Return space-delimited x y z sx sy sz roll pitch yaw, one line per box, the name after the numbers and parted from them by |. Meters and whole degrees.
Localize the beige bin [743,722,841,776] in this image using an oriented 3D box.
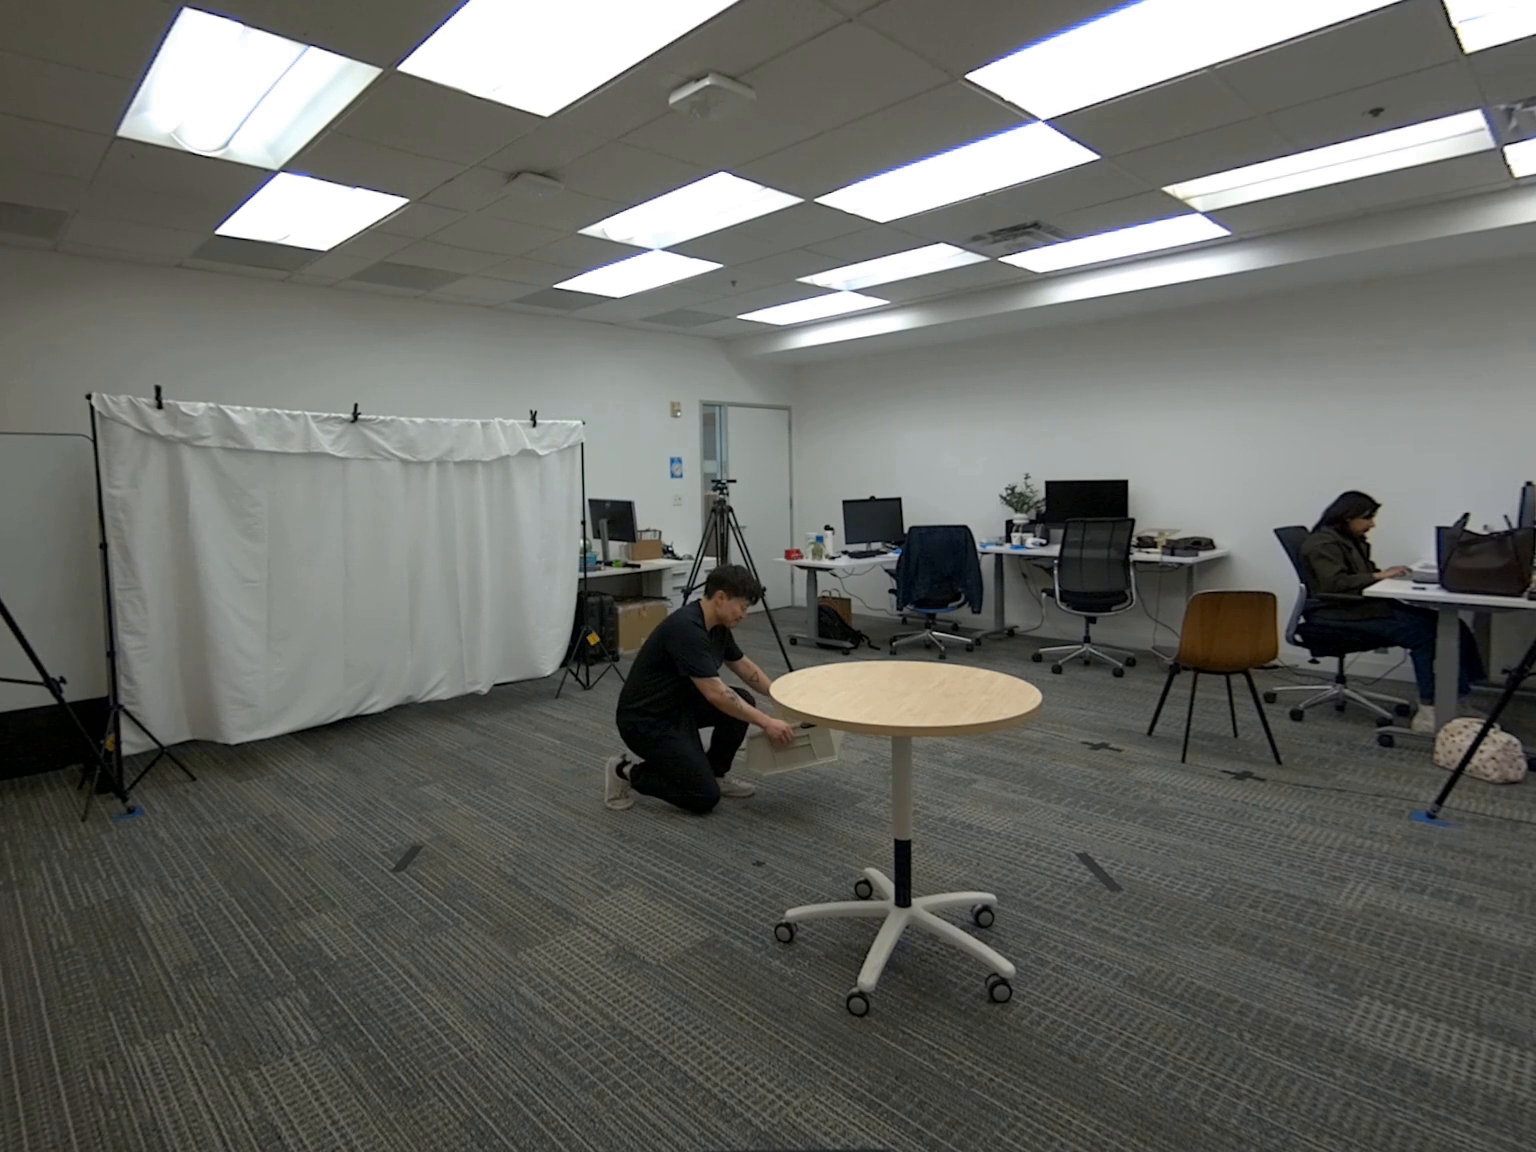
0.117 0.684 3.625 0.381 0.190 0.416 -11 -3 11 | beige bin
